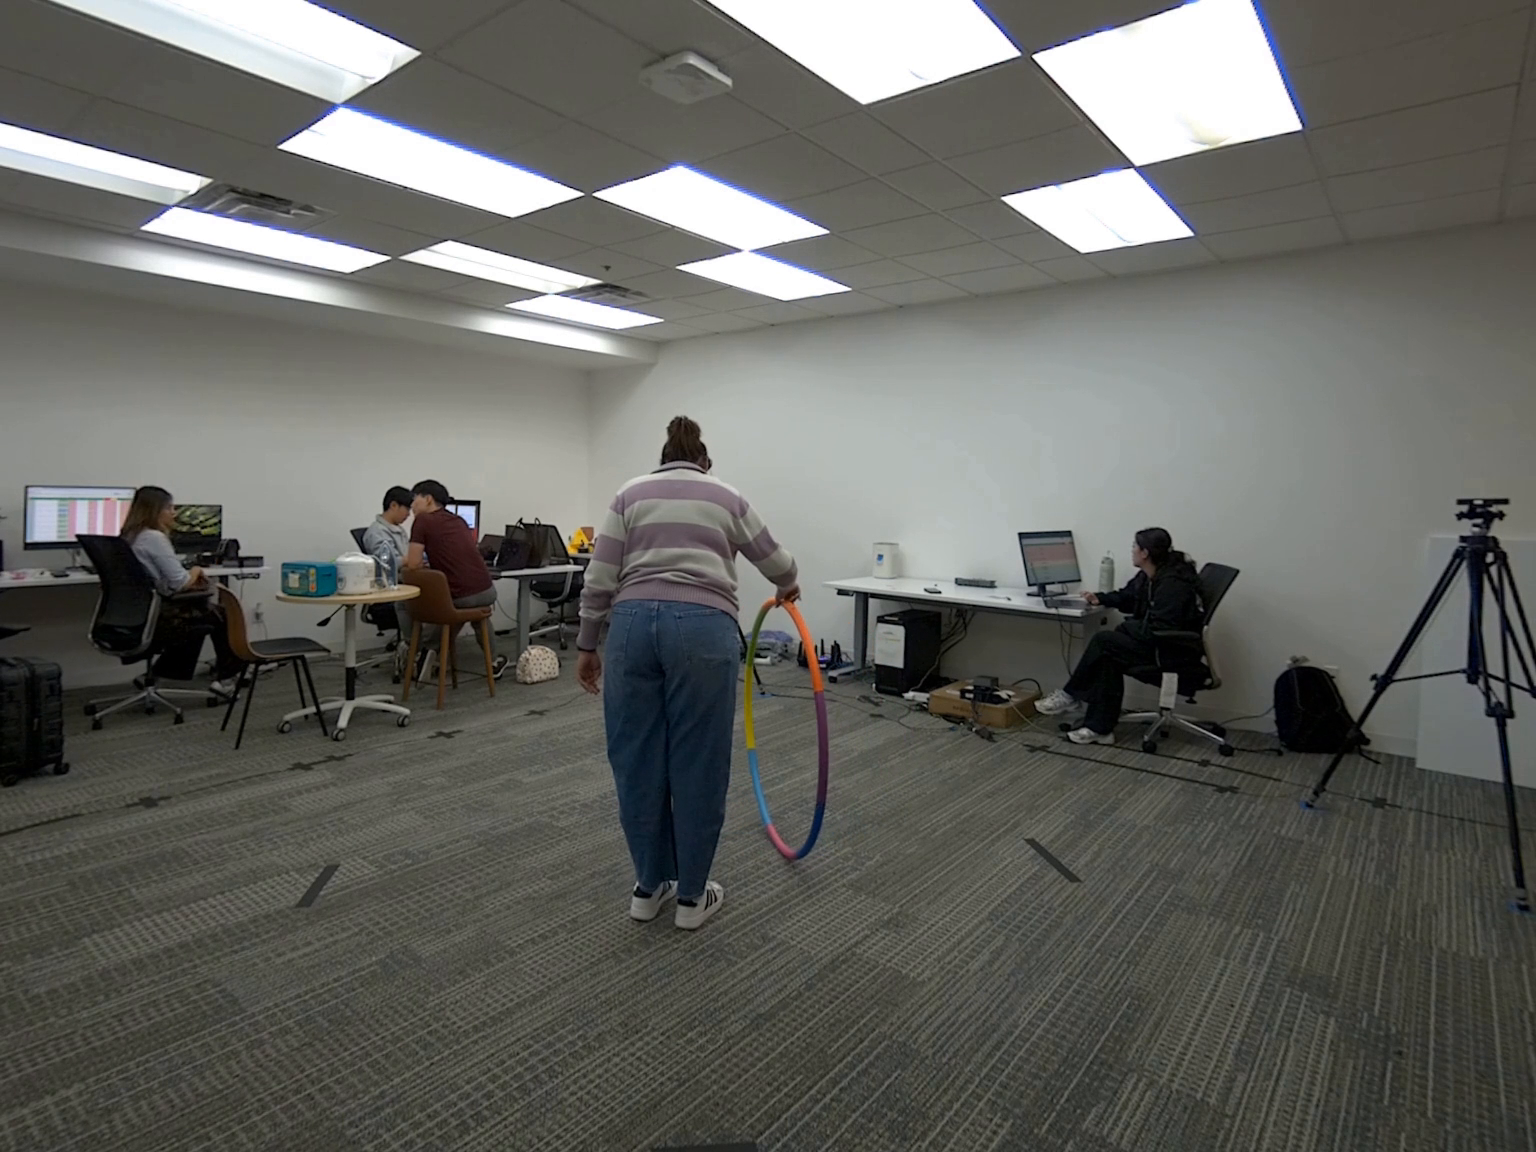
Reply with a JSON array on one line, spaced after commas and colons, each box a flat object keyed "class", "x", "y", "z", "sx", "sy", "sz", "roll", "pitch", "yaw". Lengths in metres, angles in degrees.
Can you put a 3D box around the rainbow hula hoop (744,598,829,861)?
[{"class": "rainbow hula hoop", "x": 0.034, "y": 0.568, "z": 3.278, "sx": 0.035, "sy": 0.975, "sz": 0.996, "roll": -1, "pitch": 4, "yaw": -15}]
